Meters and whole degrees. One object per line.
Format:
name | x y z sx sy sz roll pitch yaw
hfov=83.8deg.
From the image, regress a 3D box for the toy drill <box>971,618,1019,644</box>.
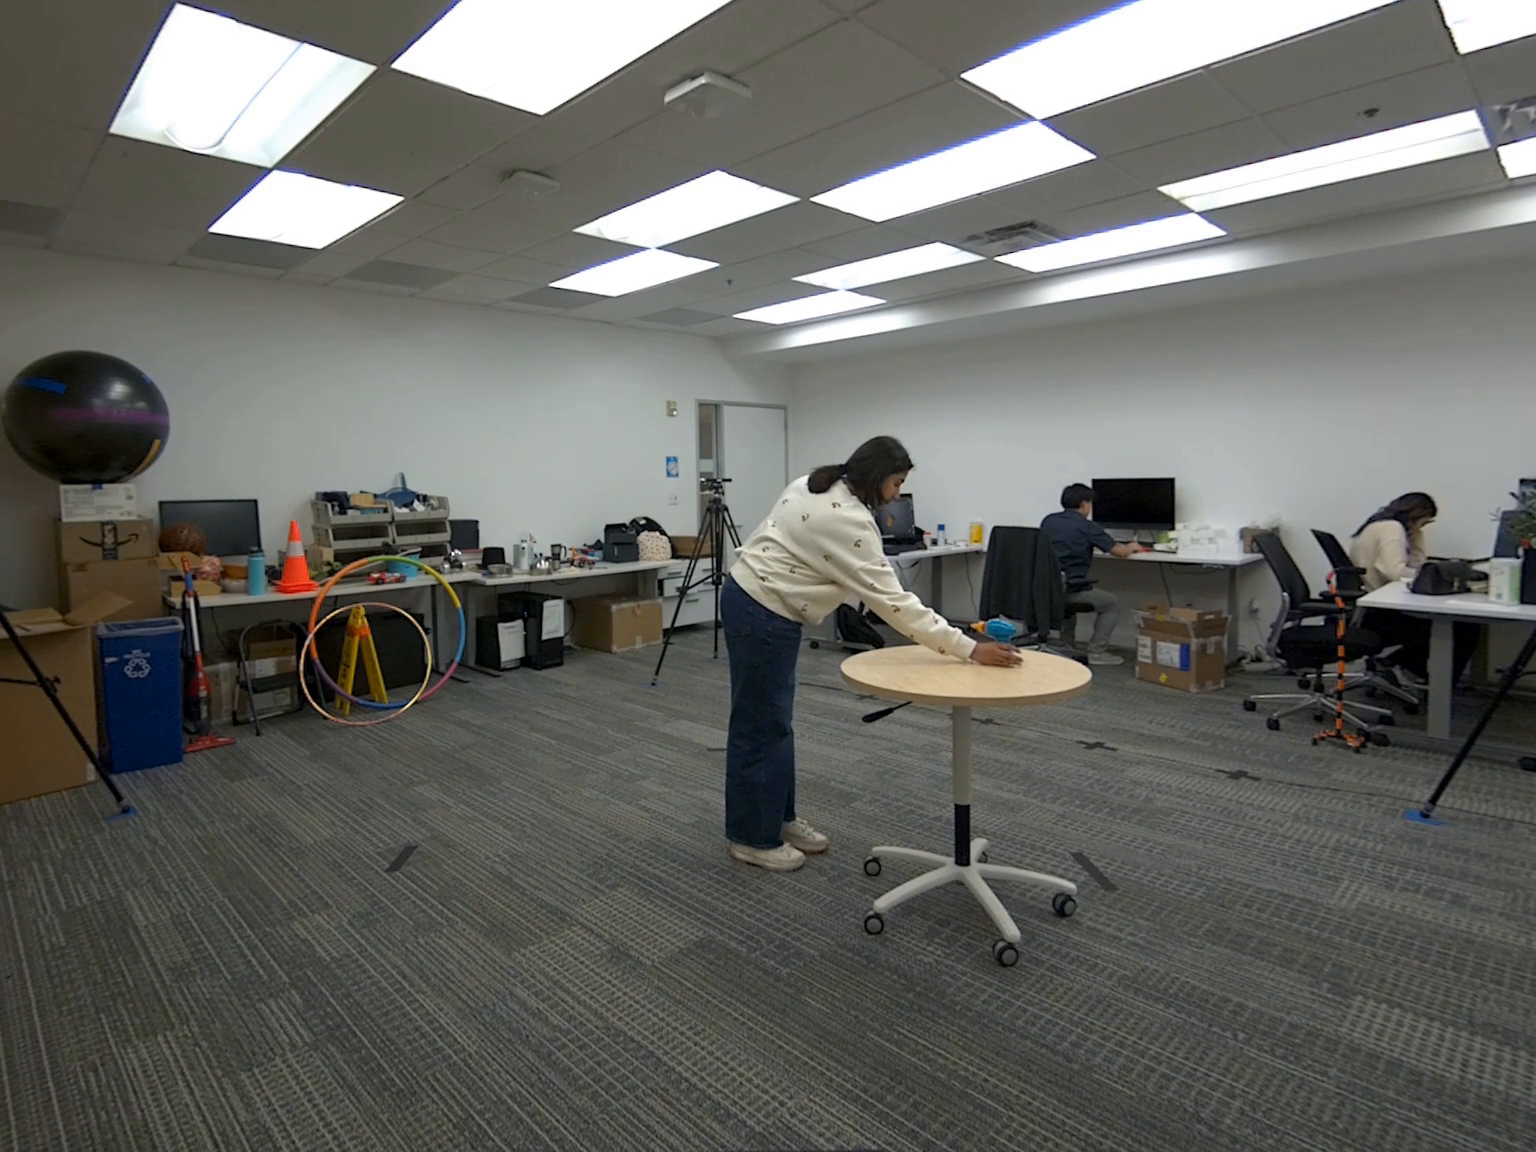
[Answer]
toy drill | 0.737 0.211 2.764 0.175 0.145 0.059 3 6 40
